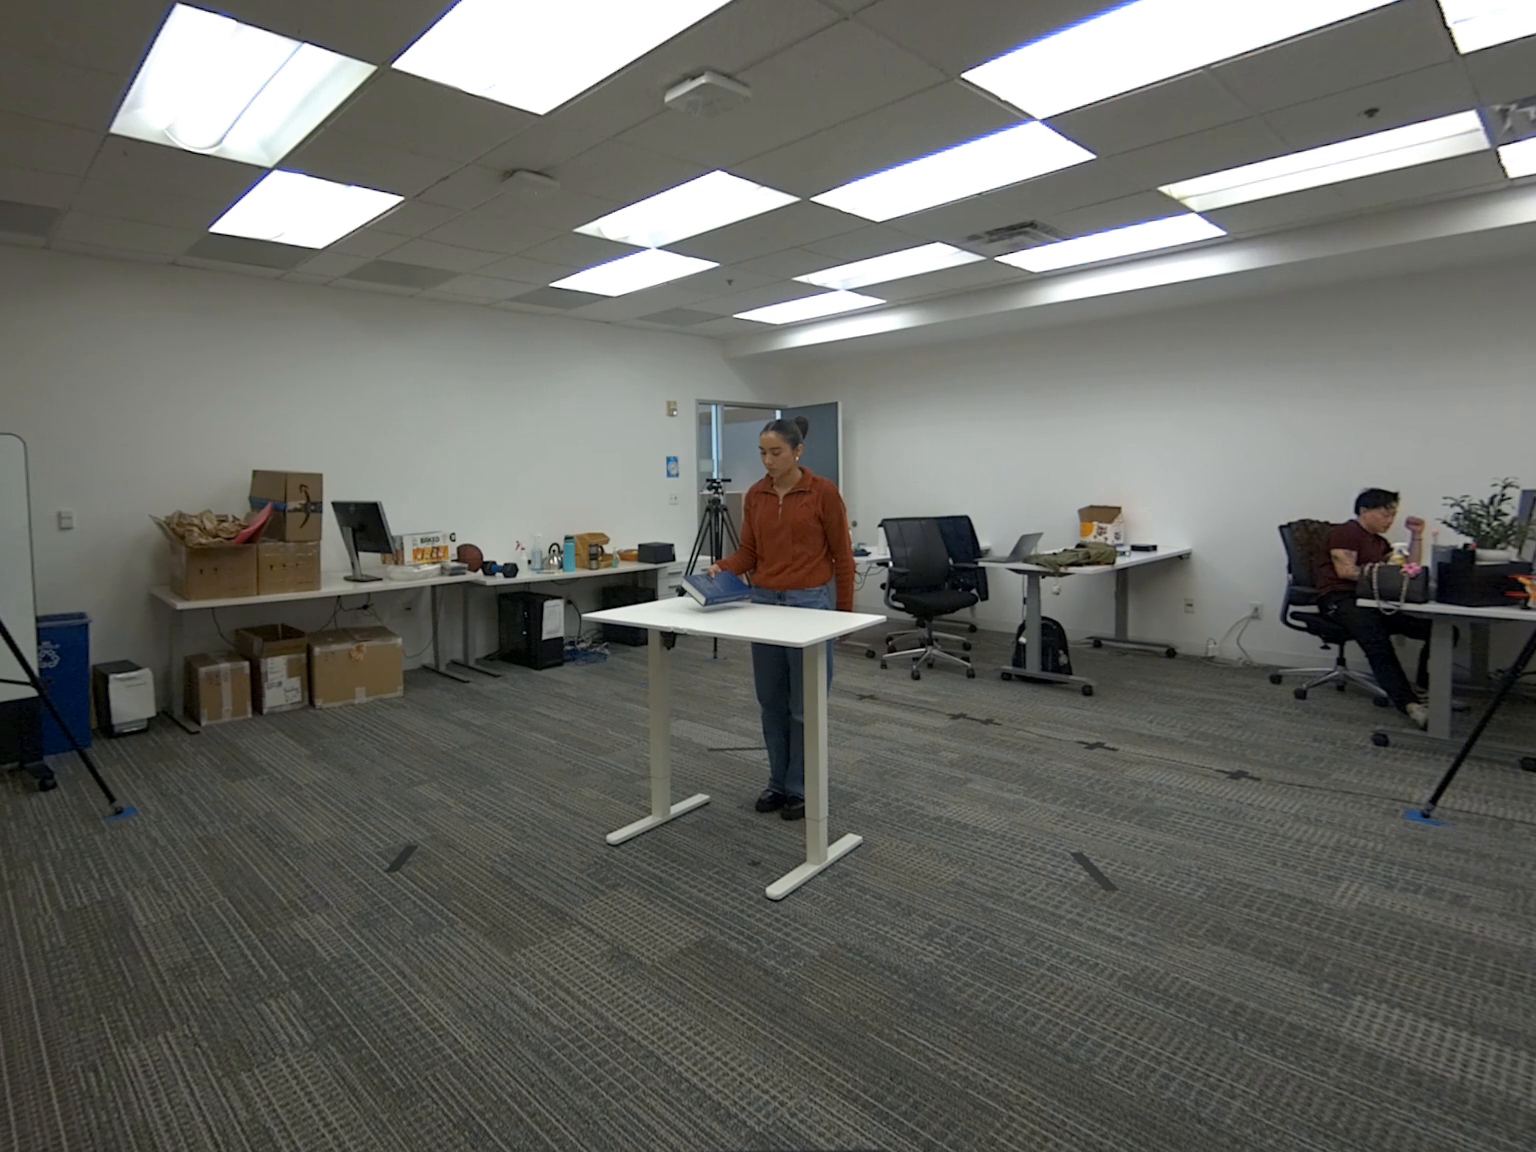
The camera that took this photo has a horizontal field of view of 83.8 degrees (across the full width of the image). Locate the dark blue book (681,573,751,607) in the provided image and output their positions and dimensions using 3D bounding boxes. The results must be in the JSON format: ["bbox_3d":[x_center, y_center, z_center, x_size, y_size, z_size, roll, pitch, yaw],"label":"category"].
[{"bbox_3d":[-0.201,0.053,3.382,0.239,0.044,0.170,-2,31,-32],"label":"dark blue book"}]
